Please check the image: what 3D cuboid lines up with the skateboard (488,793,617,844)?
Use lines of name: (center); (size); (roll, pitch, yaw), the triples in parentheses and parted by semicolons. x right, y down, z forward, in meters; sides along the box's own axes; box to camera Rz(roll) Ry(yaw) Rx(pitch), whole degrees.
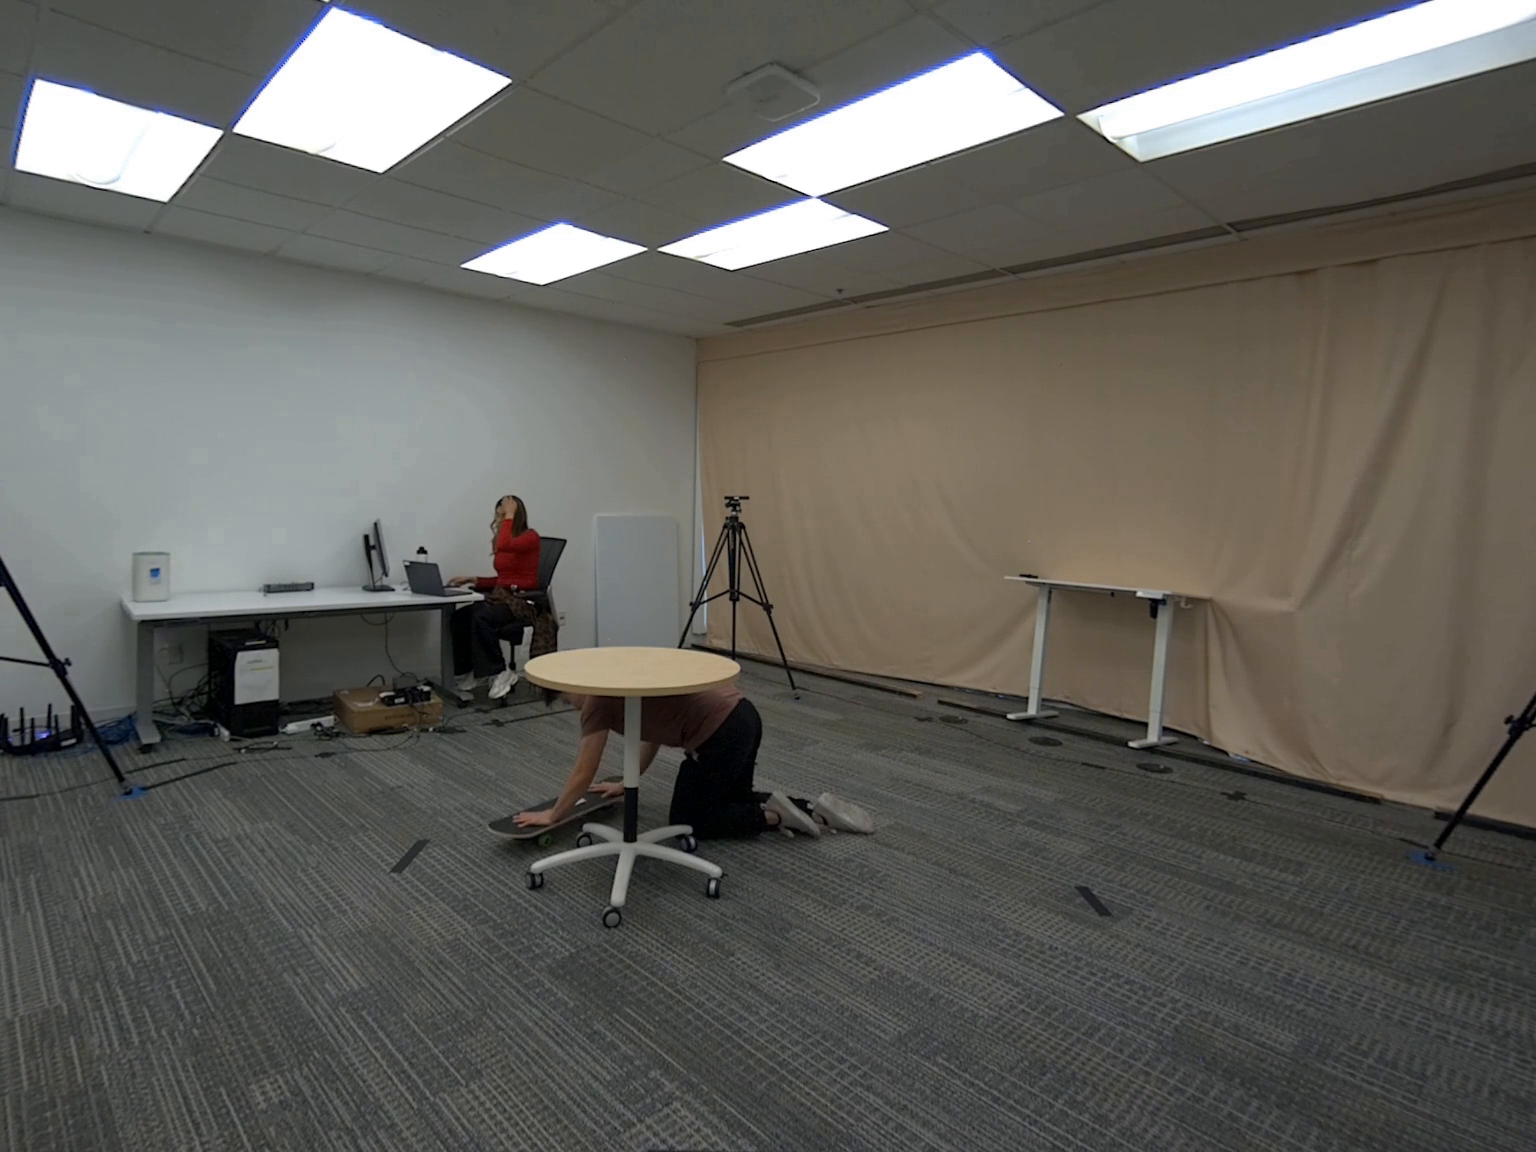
skateboard: (-0.838, 0.986, 3.515); (0.198, 0.110, 0.769); (5, 6, 32)
